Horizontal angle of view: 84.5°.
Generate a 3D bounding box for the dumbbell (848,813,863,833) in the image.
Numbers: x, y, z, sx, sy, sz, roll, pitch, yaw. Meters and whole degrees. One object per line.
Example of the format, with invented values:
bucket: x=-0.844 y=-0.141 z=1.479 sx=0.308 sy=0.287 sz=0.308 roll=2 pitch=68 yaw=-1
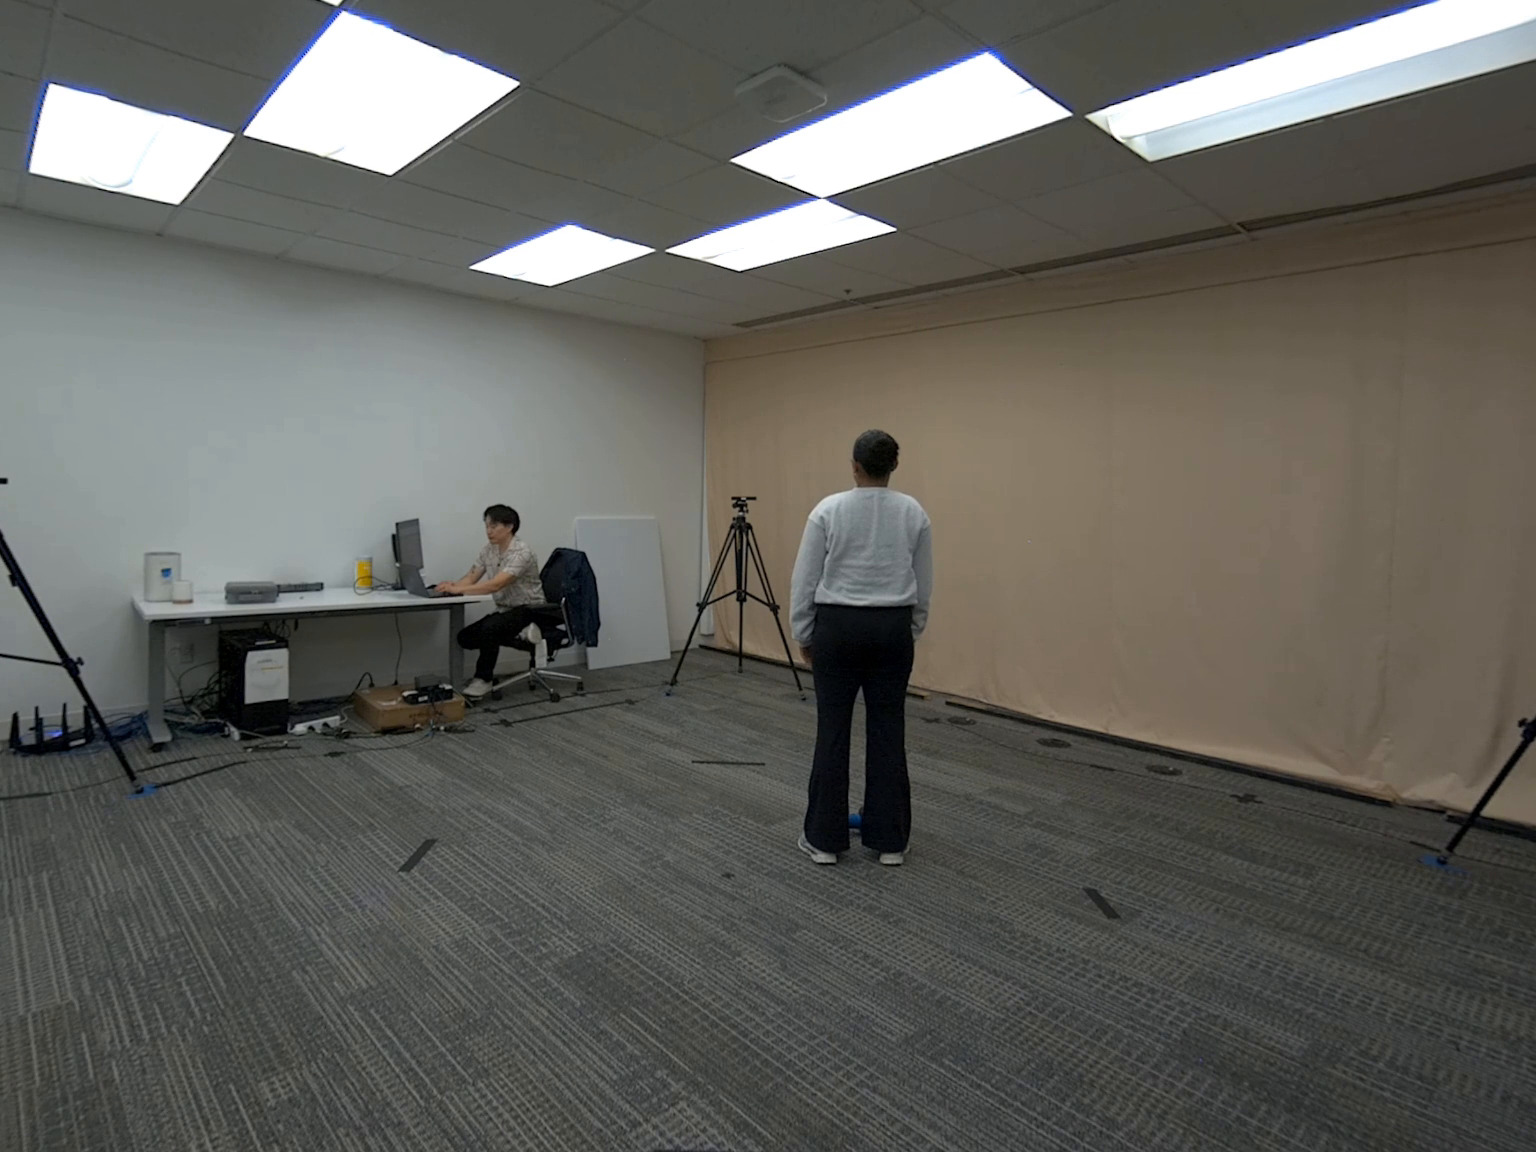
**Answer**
dumbbell: x=0.322 y=1.033 z=3.517 sx=0.292 sy=0.121 sz=0.111 roll=1 pitch=35 yaw=-7
